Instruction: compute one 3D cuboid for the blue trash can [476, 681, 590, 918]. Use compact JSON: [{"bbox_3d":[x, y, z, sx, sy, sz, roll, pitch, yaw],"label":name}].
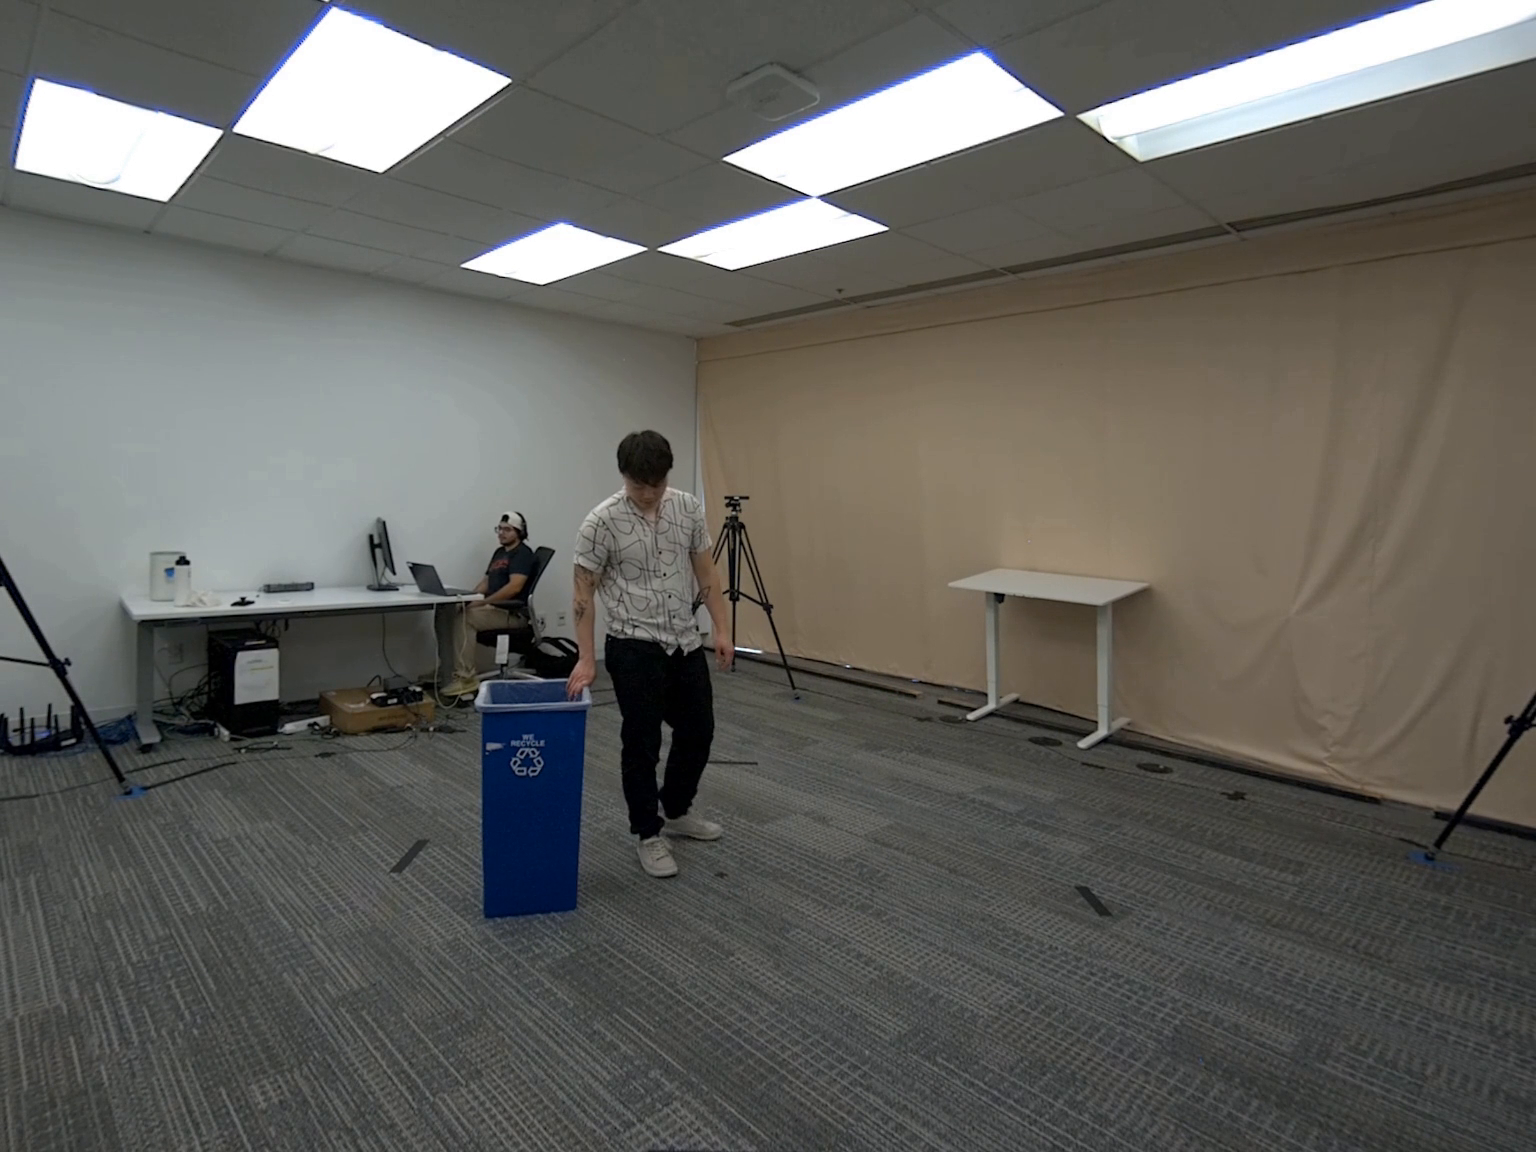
[{"bbox_3d":[-0.817,0.751,2.905,0.369,0.712,0.384,1,4,-16],"label":"blue trash can"}]
